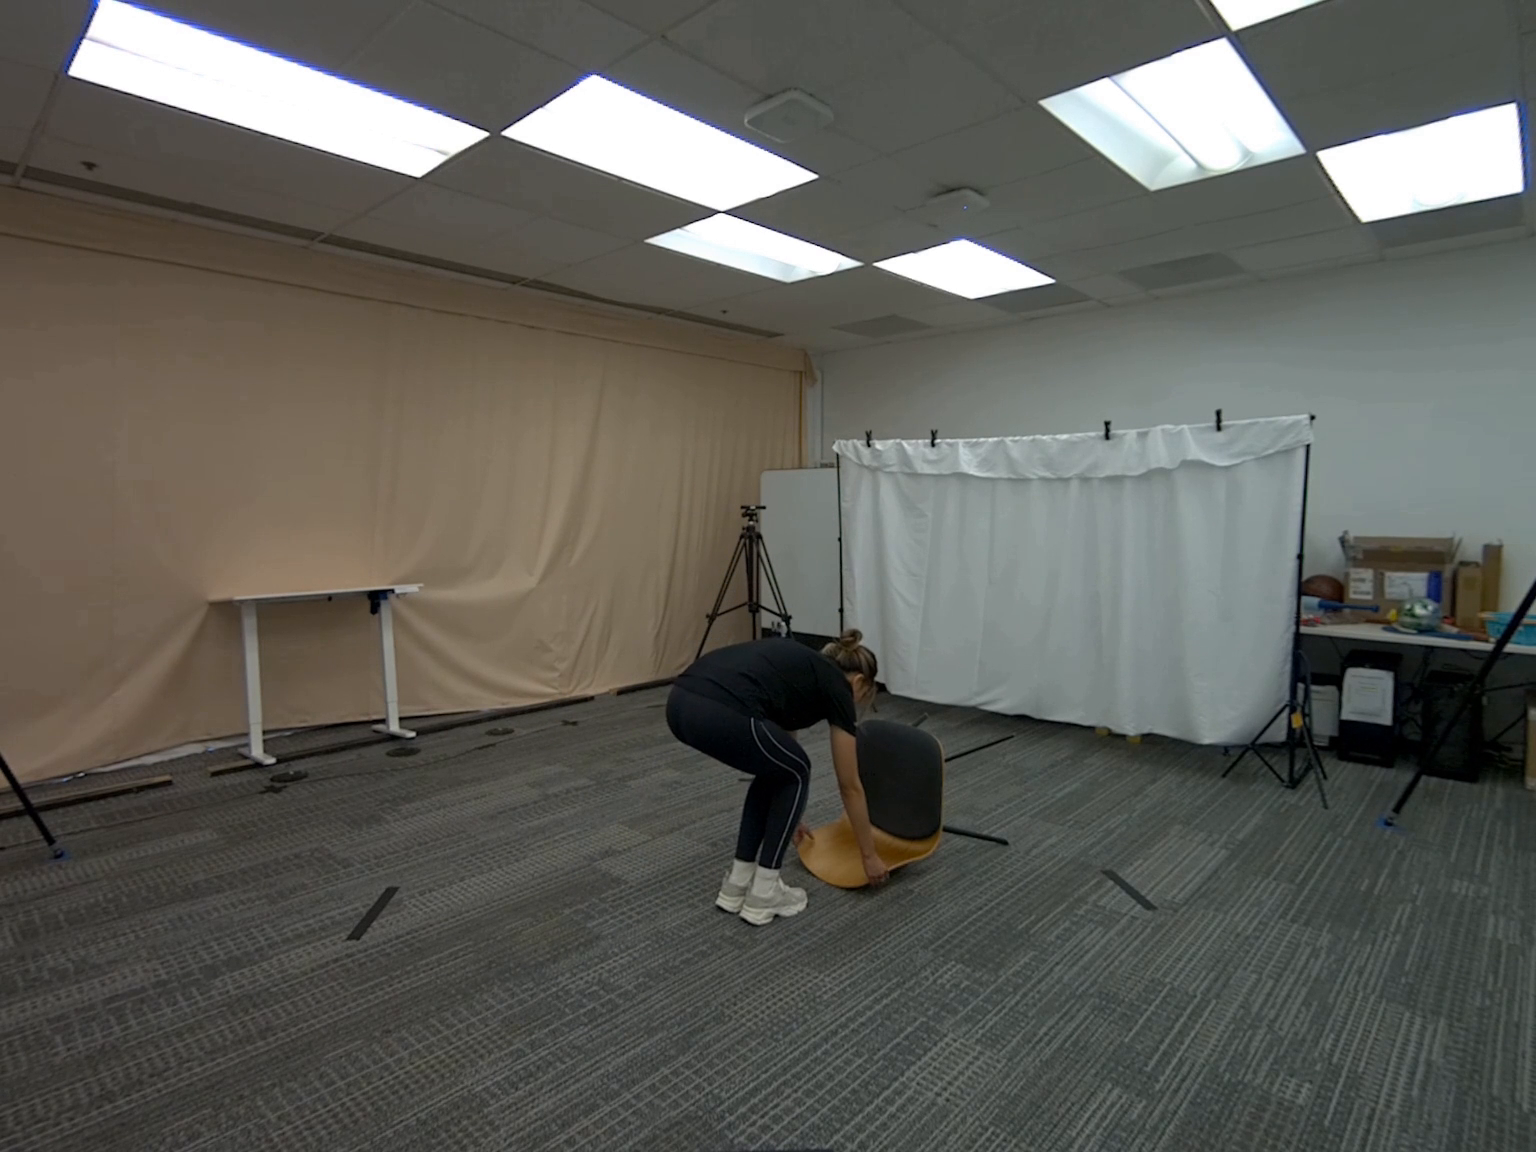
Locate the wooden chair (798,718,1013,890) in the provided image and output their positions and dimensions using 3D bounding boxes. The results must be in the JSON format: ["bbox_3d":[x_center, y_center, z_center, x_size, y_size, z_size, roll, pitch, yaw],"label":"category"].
[{"bbox_3d":[0.522,0.844,3.362,0.851,0.522,0.494,-4,5,-40],"label":"wooden chair"}]
